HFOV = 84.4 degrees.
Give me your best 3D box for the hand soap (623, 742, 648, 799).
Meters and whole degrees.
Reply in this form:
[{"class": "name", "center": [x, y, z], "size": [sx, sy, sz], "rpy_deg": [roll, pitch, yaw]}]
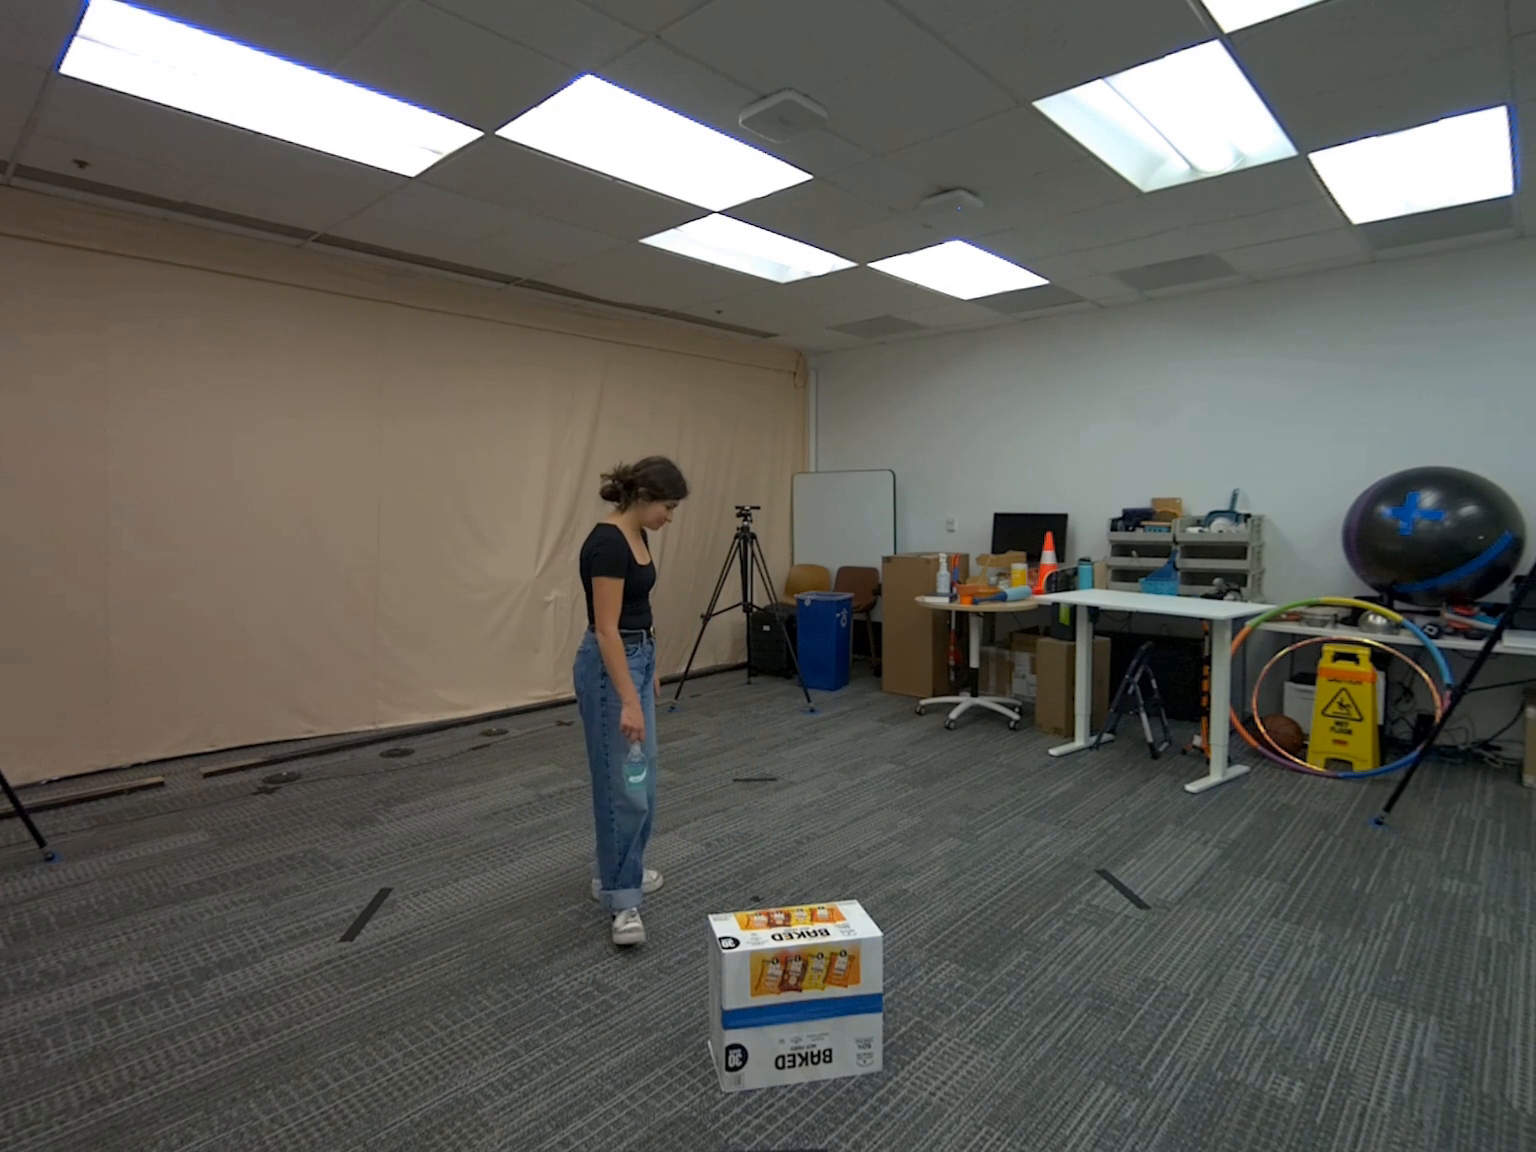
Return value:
[{"class": "hand soap", "center": [-0.411, 0.586, 2.644], "size": [0.083, 0.168, 0.044], "rpy_deg": [-2, -1, -13]}]
